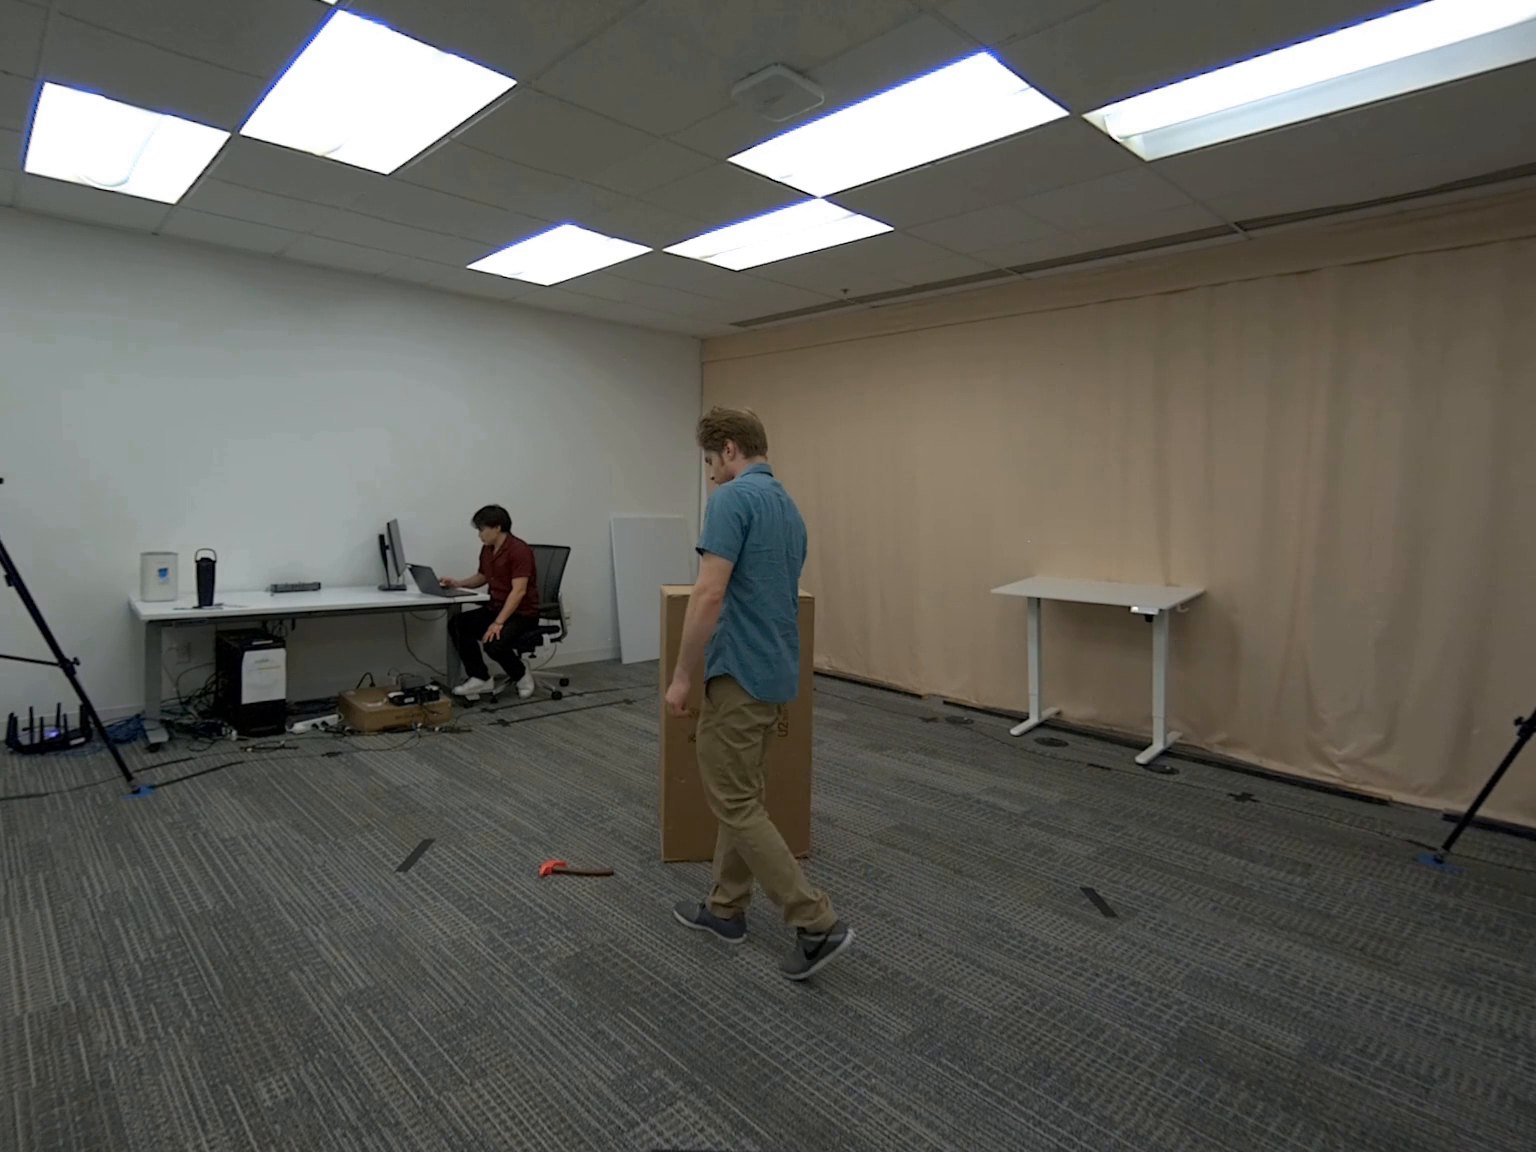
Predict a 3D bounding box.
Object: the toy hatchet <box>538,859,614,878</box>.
[{"bbox_3d":[-0.713,1.078,3.115,0.268,0.029,0.132,4,2,-9],"label":"toy hatchet"}]
